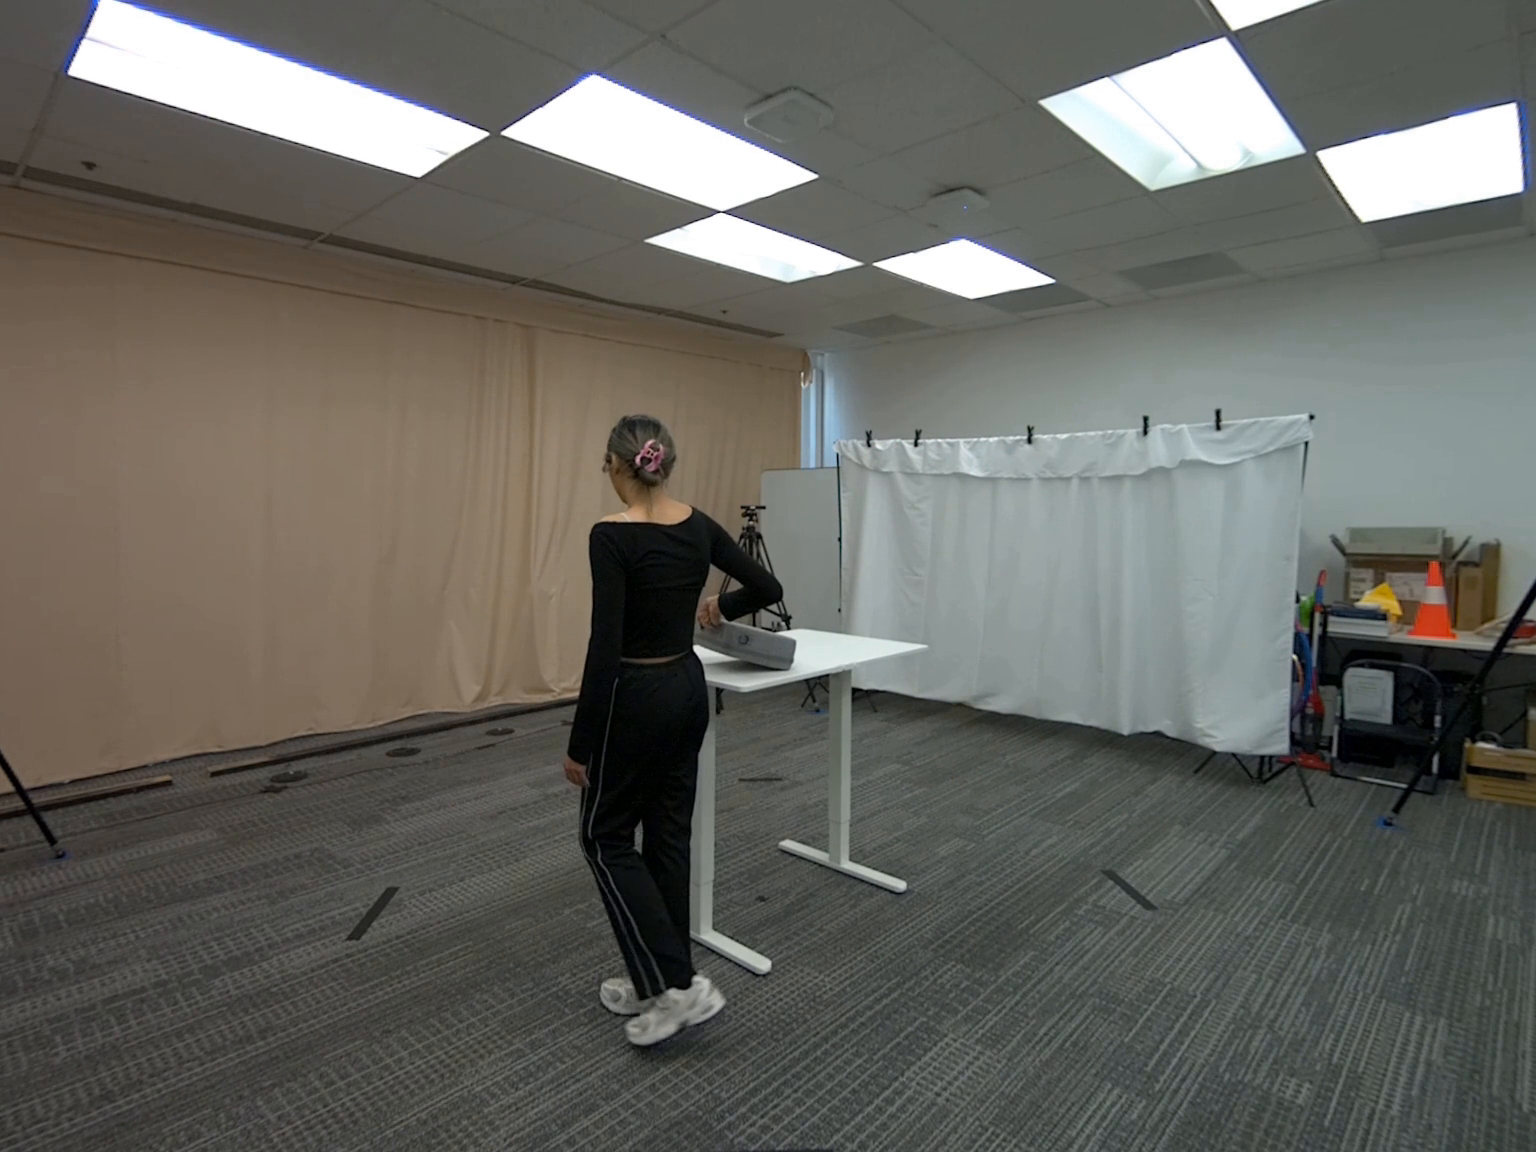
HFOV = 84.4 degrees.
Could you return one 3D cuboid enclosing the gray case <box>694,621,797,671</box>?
[{"bbox_3d":[-0.067,0.209,2.657,0.253,0.104,0.264,16,-1,-26],"label":"gray case"}]
